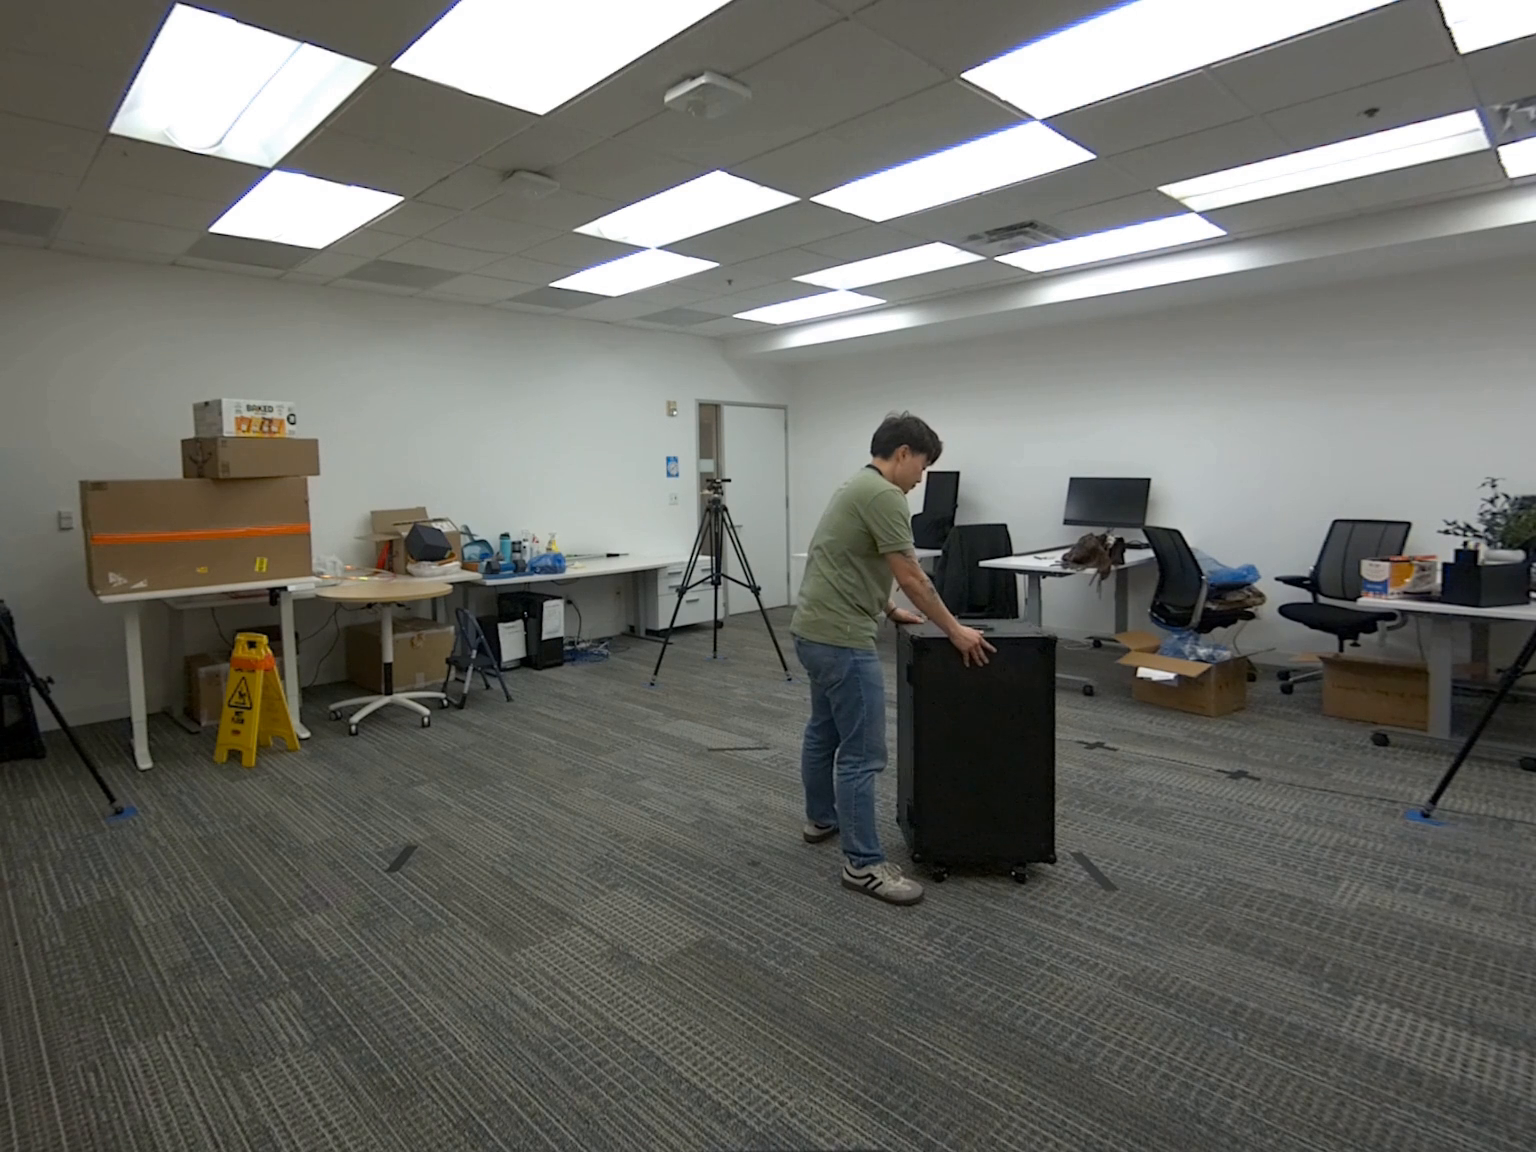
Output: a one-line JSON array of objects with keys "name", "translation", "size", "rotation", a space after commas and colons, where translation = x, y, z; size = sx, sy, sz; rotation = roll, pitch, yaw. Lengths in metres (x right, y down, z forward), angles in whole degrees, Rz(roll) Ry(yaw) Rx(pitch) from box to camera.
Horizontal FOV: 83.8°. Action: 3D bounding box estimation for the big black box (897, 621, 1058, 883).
[{"name": "big black box", "translation": [0.728, 0.604, 3.079], "size": [0.523, 0.859, 0.396], "rotation": [-1, 3, 2]}]
